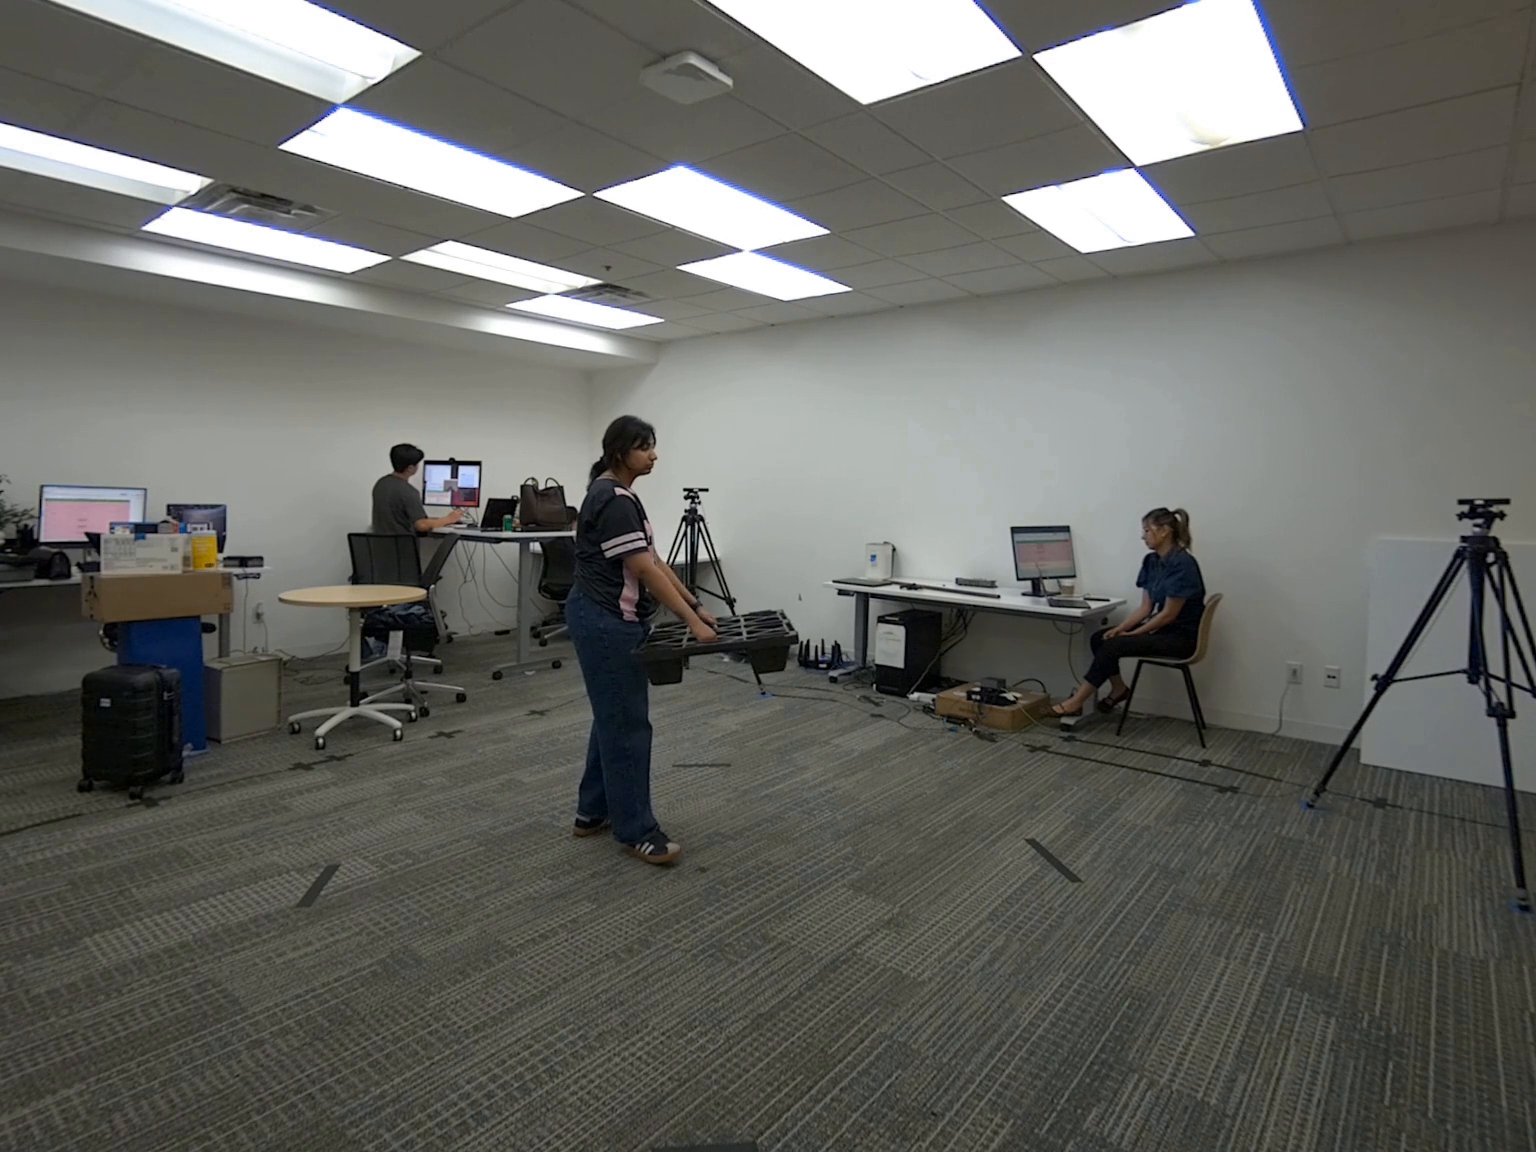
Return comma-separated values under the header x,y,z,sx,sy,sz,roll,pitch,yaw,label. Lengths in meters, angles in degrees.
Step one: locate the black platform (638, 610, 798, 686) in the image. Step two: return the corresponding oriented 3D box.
x,y,z,sx,sy,sz,roll,pitch,yaw,label
-0.207,0.271,3.379,0.605,0.143,0.808,-7,5,-1,black platform
